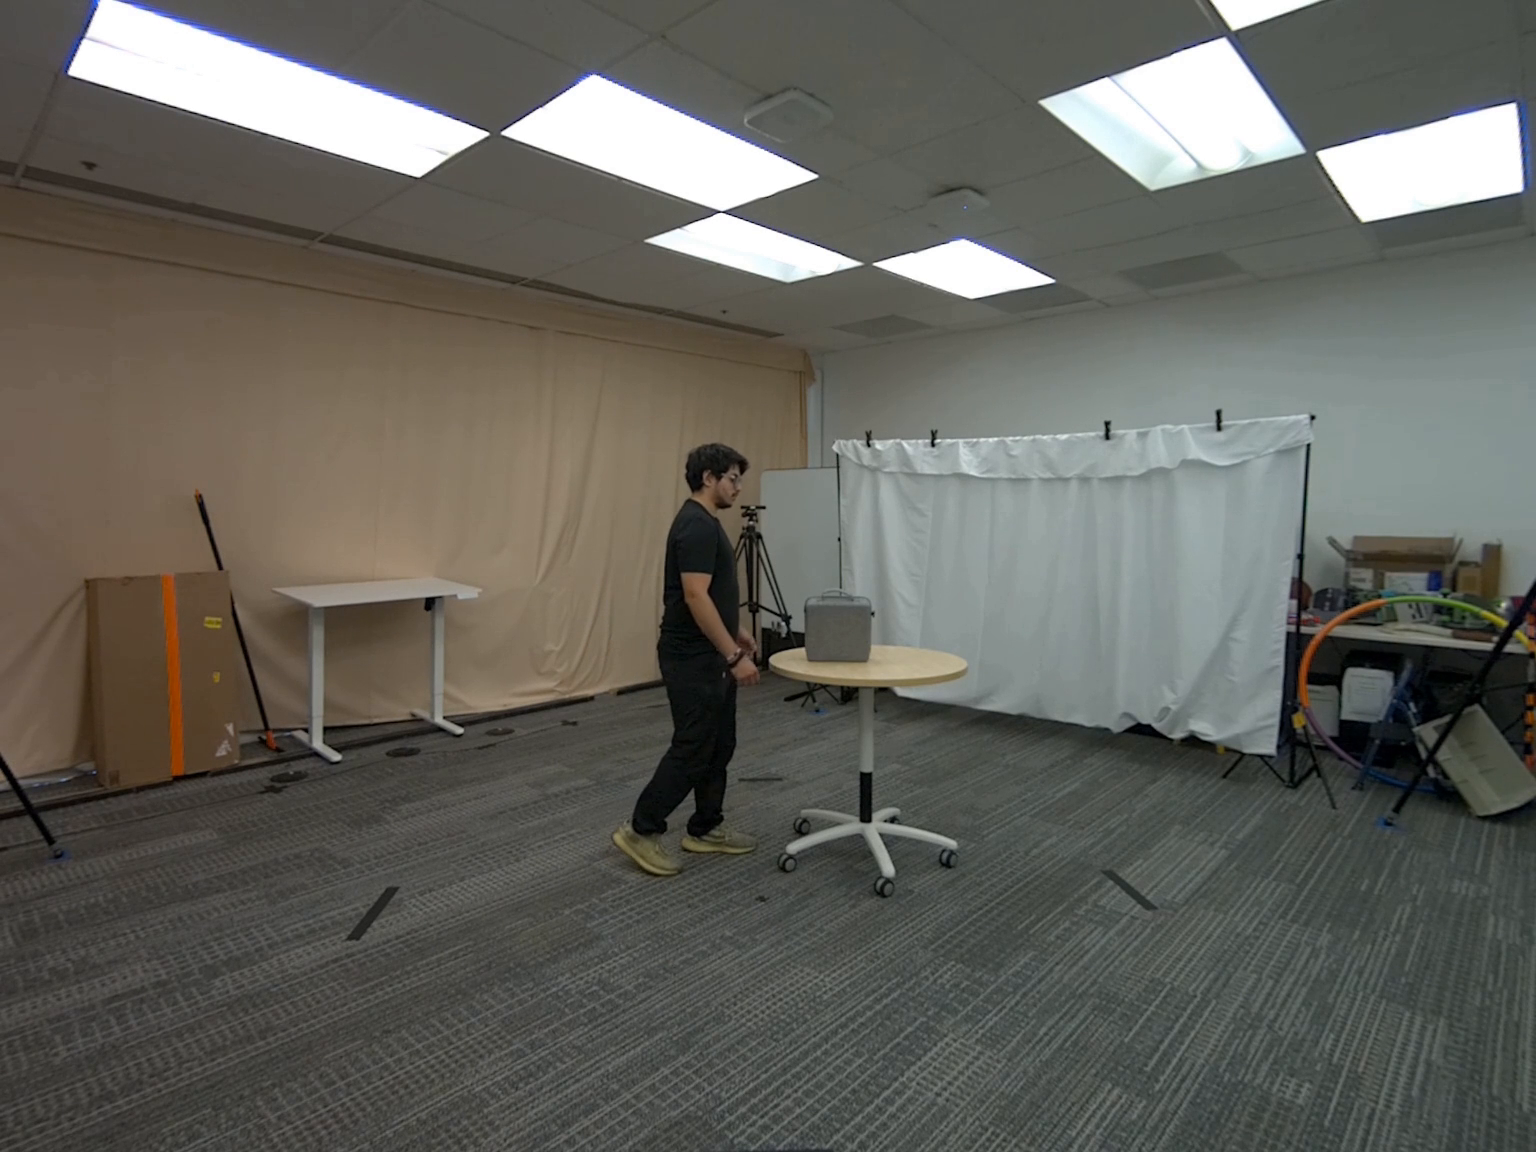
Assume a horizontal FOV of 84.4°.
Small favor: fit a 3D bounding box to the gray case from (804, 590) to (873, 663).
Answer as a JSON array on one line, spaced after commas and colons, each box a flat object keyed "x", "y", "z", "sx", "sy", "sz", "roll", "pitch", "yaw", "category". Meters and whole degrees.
[{"x": 0.281, "y": 0.206, "z": 3.281, "sx": 0.259, "sy": 0.258, "sz": 0.104, "roll": 0, "pitch": 15, "yaw": 6, "category": "gray case"}]
